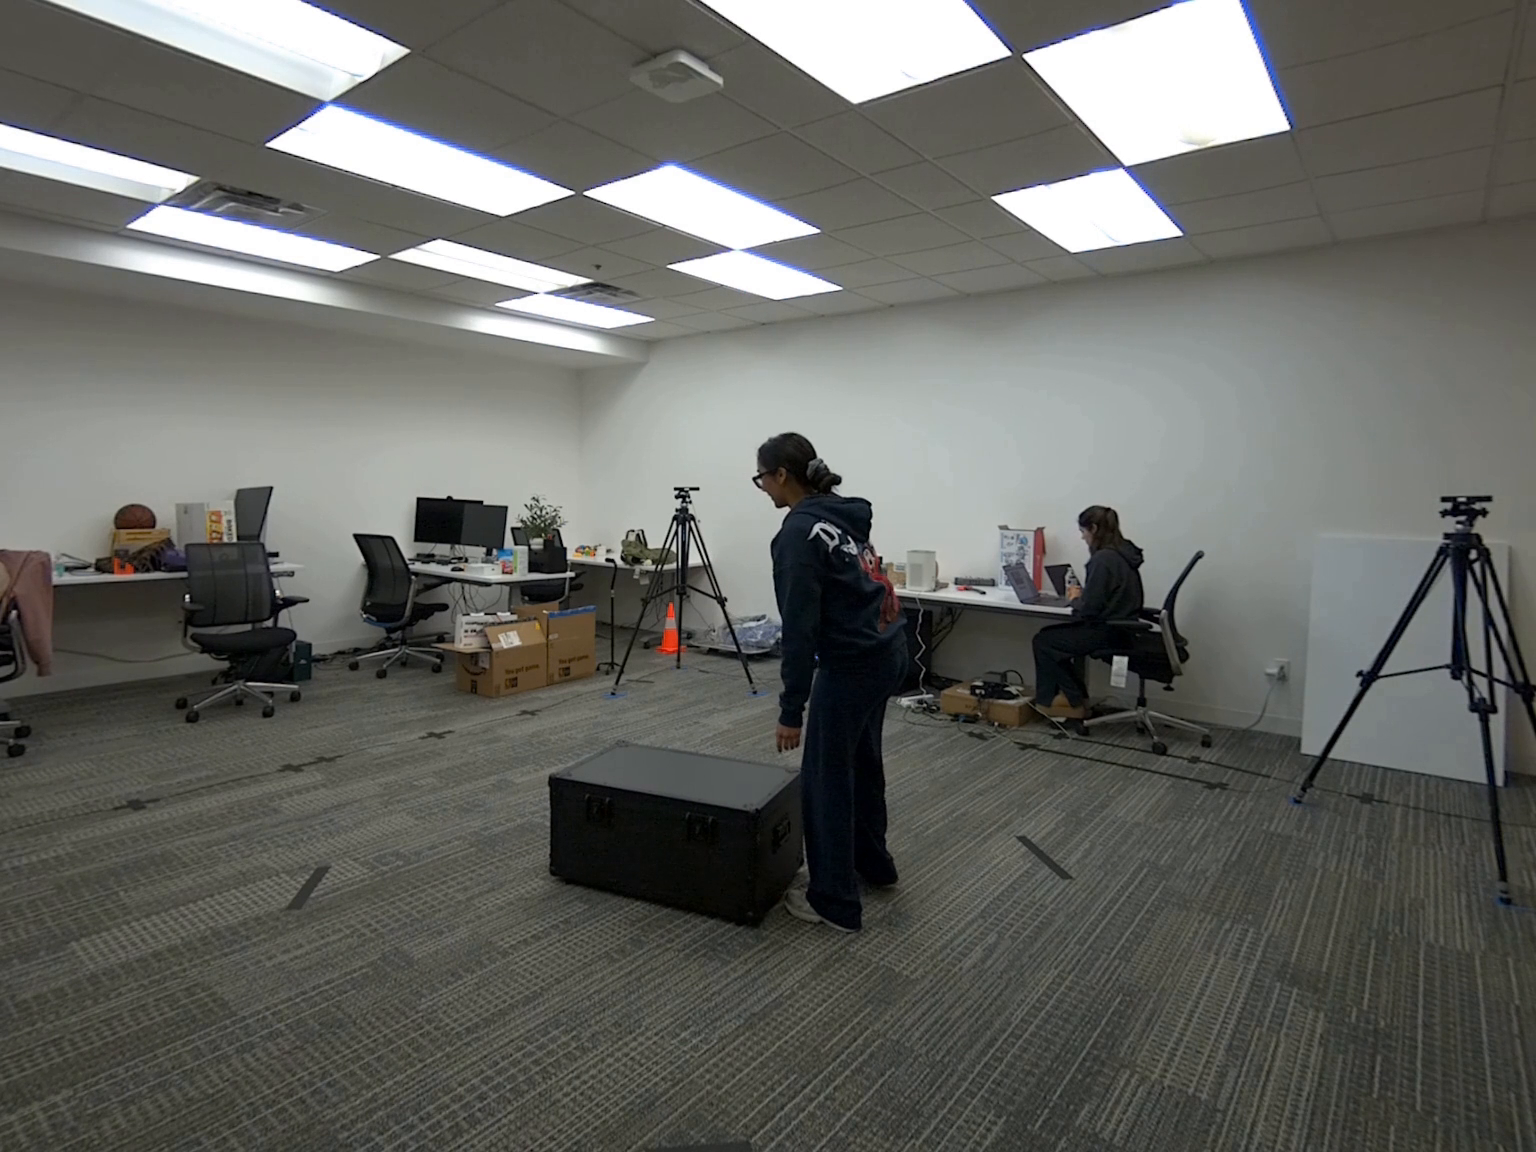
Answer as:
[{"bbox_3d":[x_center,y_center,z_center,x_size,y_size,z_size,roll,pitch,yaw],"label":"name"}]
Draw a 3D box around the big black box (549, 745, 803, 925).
[{"bbox_3d":[-0.359,0.879,3.056,0.882,0.395,0.511,3,5,22],"label":"big black box"}]
